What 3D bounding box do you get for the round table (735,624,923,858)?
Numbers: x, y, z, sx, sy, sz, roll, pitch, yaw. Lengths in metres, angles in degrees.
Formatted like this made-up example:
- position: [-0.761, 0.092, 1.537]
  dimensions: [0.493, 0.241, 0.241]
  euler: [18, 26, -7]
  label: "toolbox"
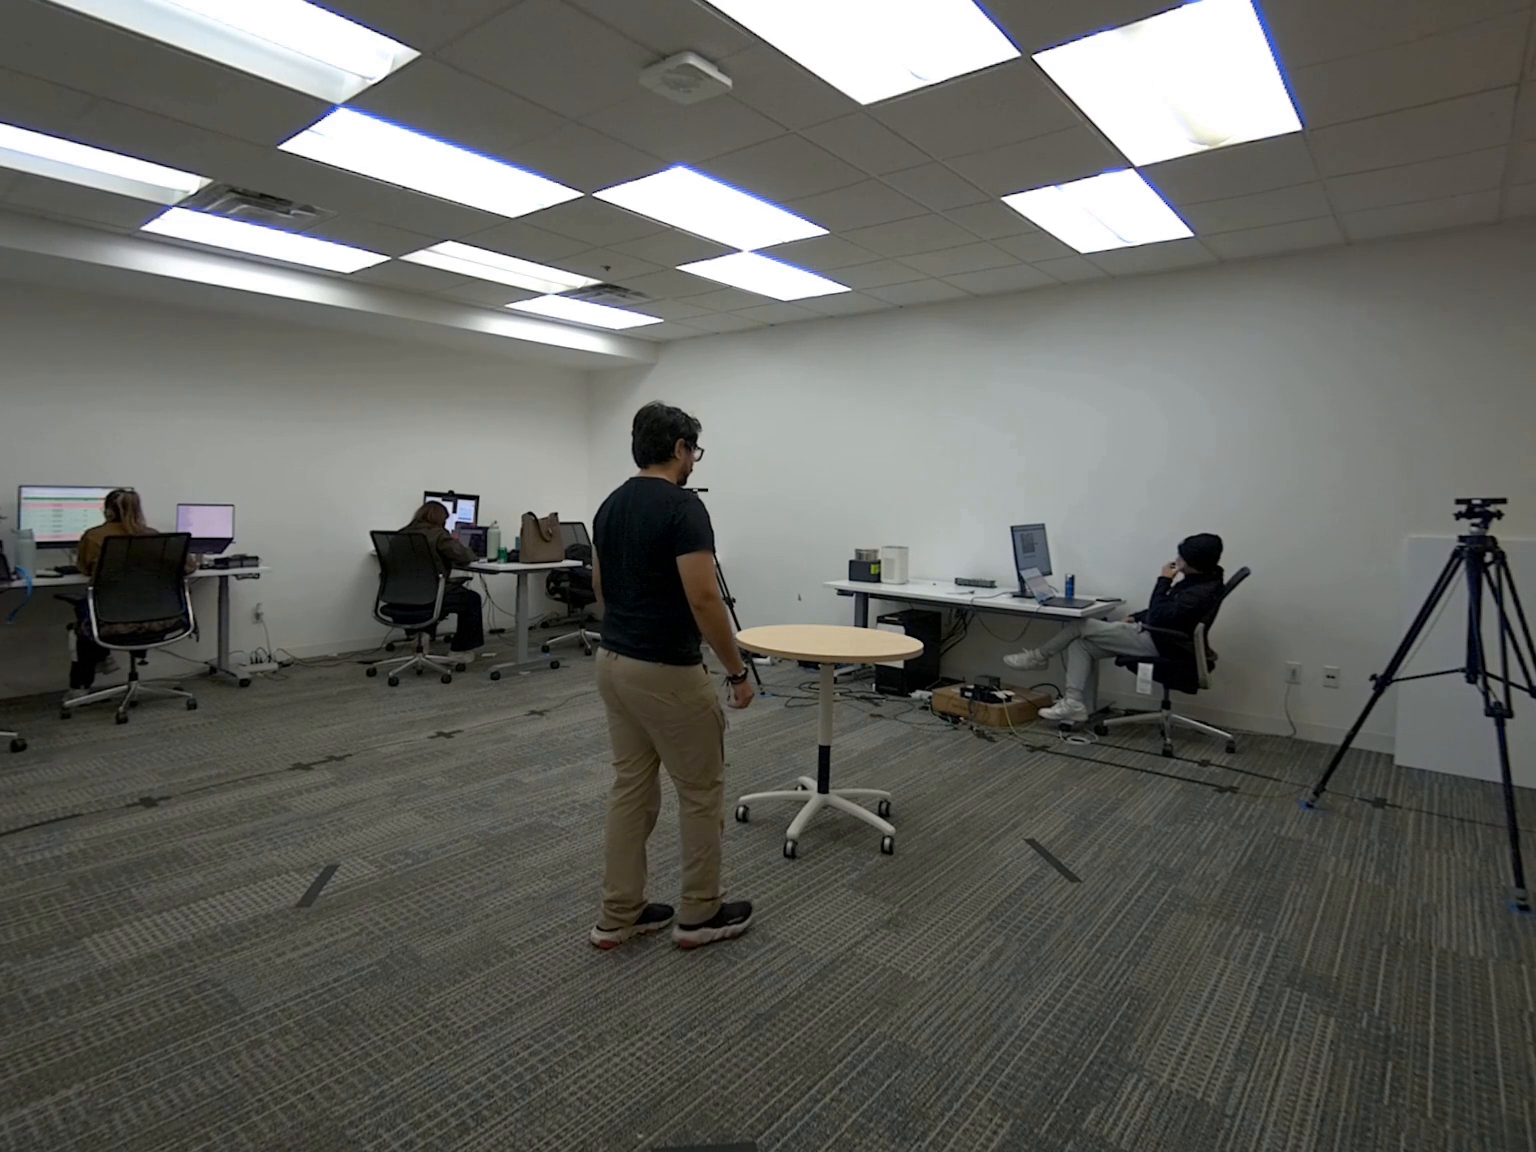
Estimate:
- position: [0.209, 0.643, 3.530]
  dimensions: [0.784, 0.784, 0.789]
  euler: [2, 4, -2]
  label: "round table"
